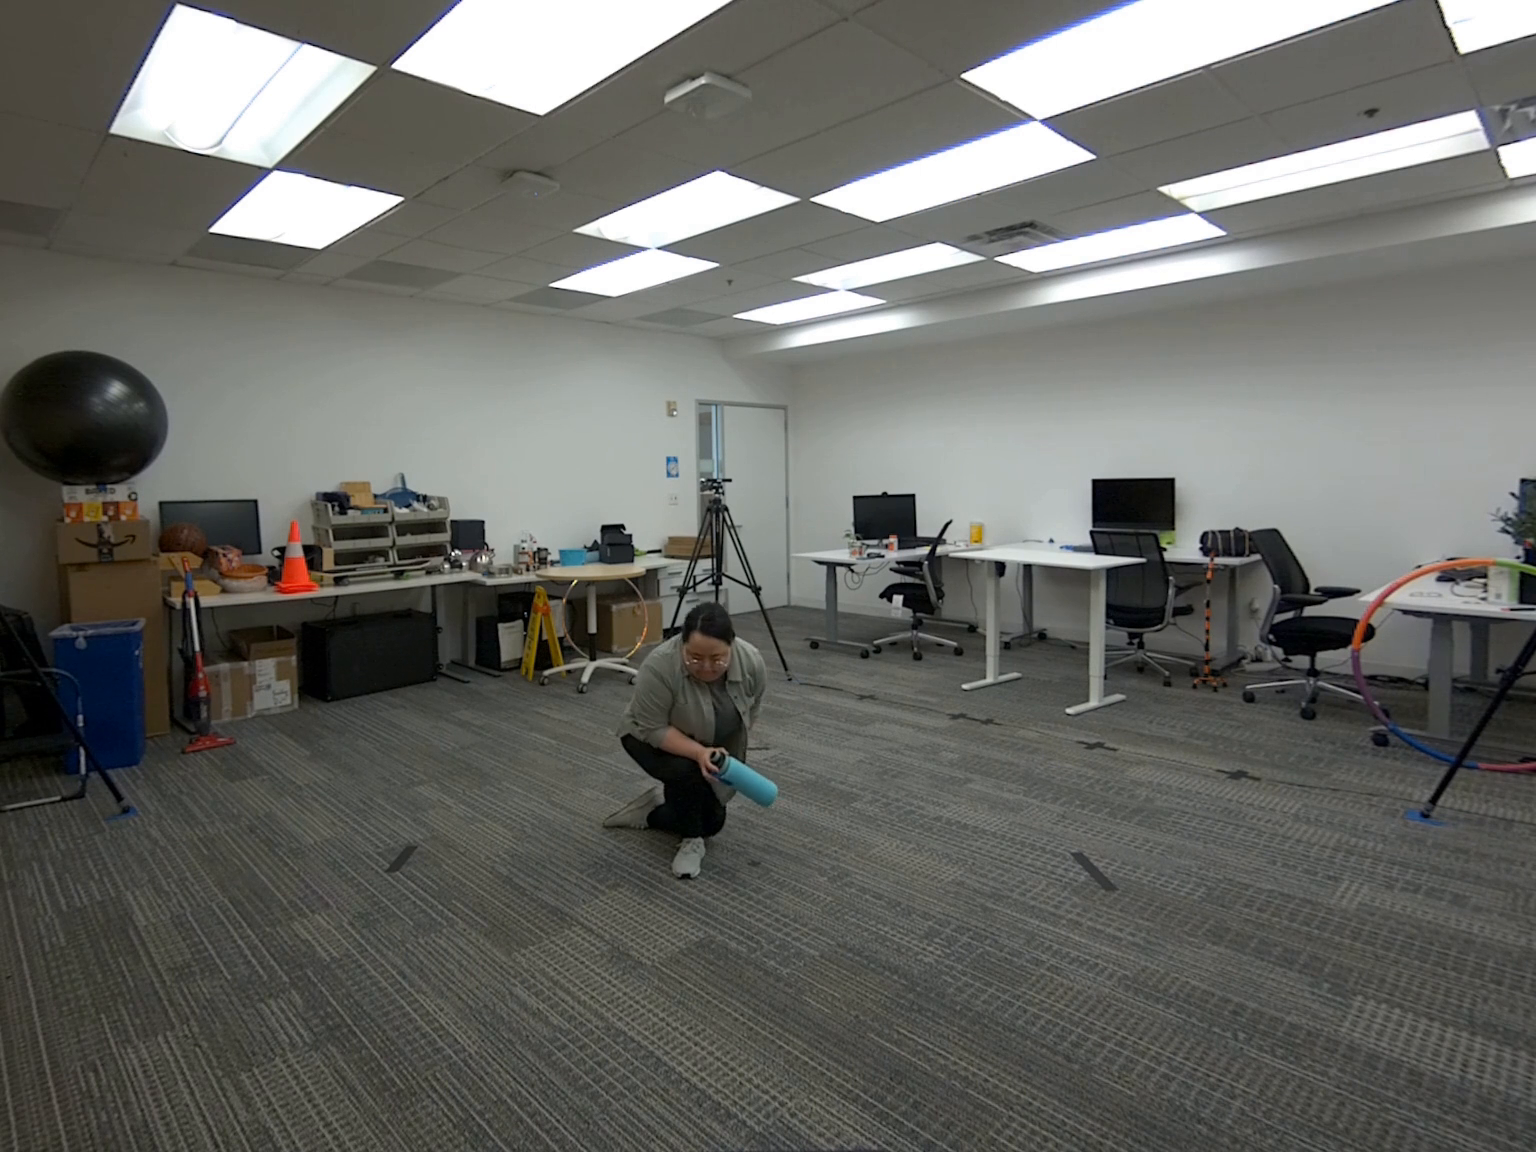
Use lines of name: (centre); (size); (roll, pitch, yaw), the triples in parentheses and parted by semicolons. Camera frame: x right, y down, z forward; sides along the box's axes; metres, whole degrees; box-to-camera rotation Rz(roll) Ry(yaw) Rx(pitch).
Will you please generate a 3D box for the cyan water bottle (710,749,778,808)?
cyan water bottle: (-0.112, 0.702, 2.987); (0.275, 0.092, 0.095); (38, -13, -23)
